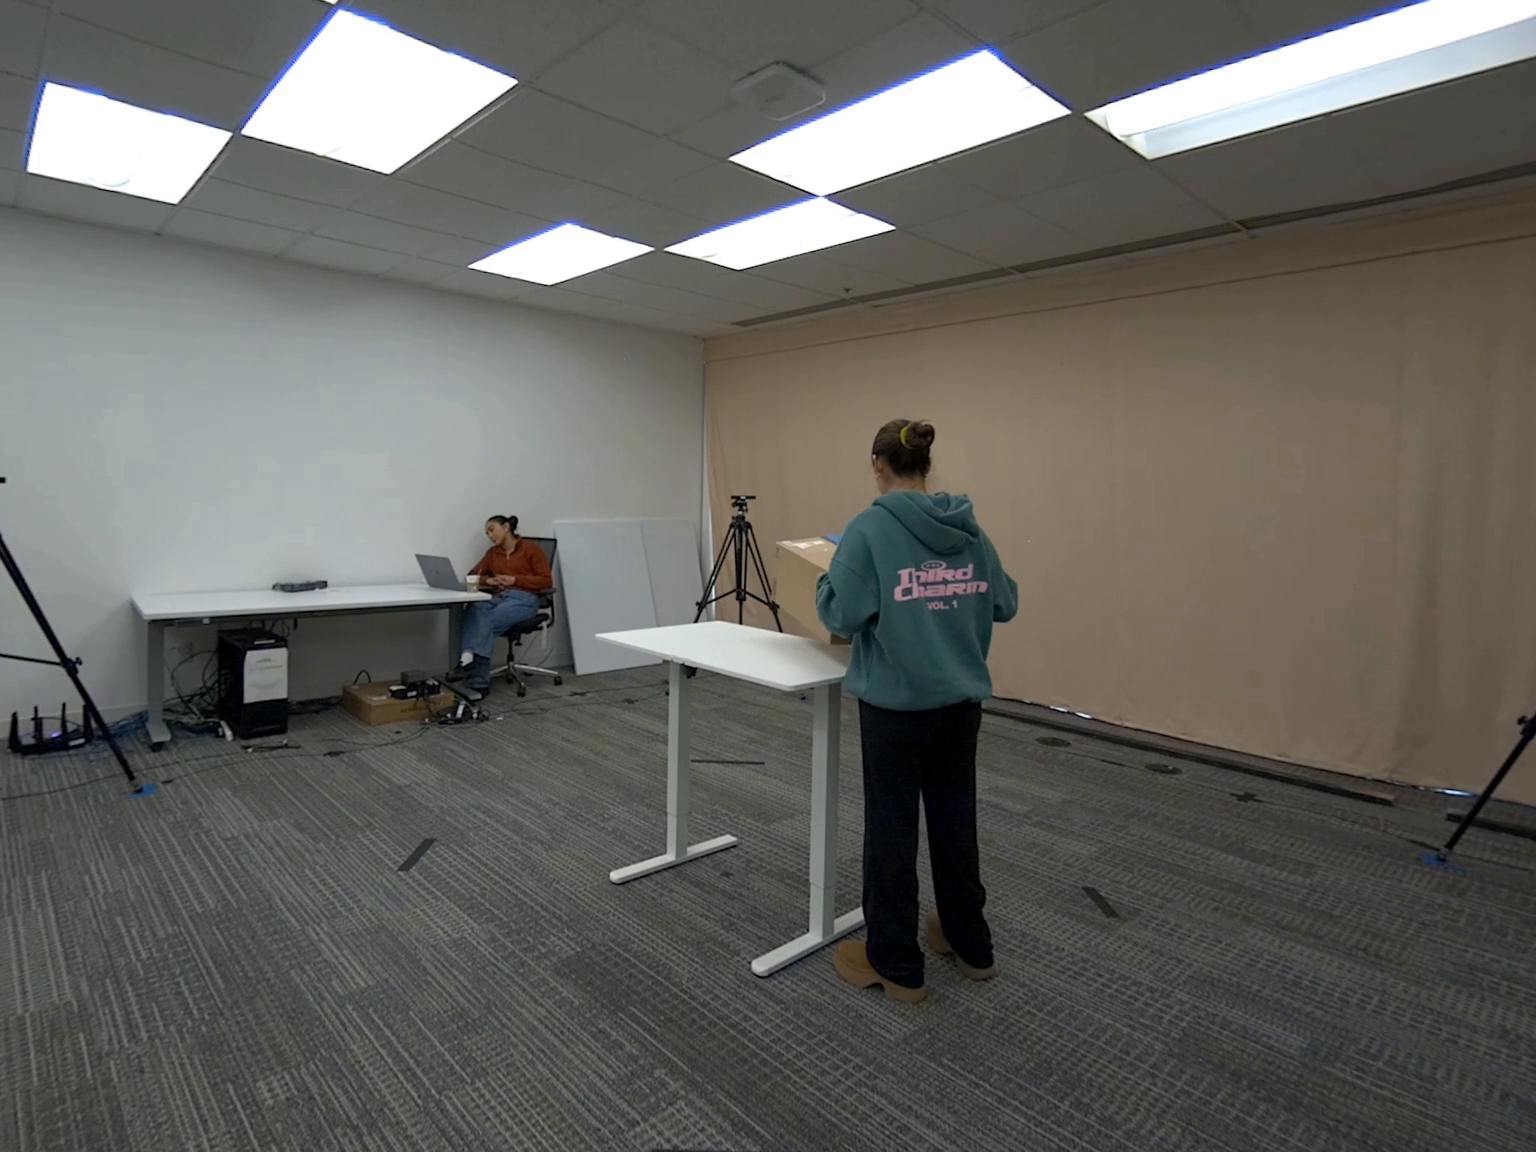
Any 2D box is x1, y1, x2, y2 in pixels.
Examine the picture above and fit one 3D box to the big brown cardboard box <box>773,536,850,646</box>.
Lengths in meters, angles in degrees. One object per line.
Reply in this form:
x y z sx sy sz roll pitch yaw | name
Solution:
0.302 0.042 2.853 0.412 0.231 0.601 1 12 -18 | big brown cardboard box
